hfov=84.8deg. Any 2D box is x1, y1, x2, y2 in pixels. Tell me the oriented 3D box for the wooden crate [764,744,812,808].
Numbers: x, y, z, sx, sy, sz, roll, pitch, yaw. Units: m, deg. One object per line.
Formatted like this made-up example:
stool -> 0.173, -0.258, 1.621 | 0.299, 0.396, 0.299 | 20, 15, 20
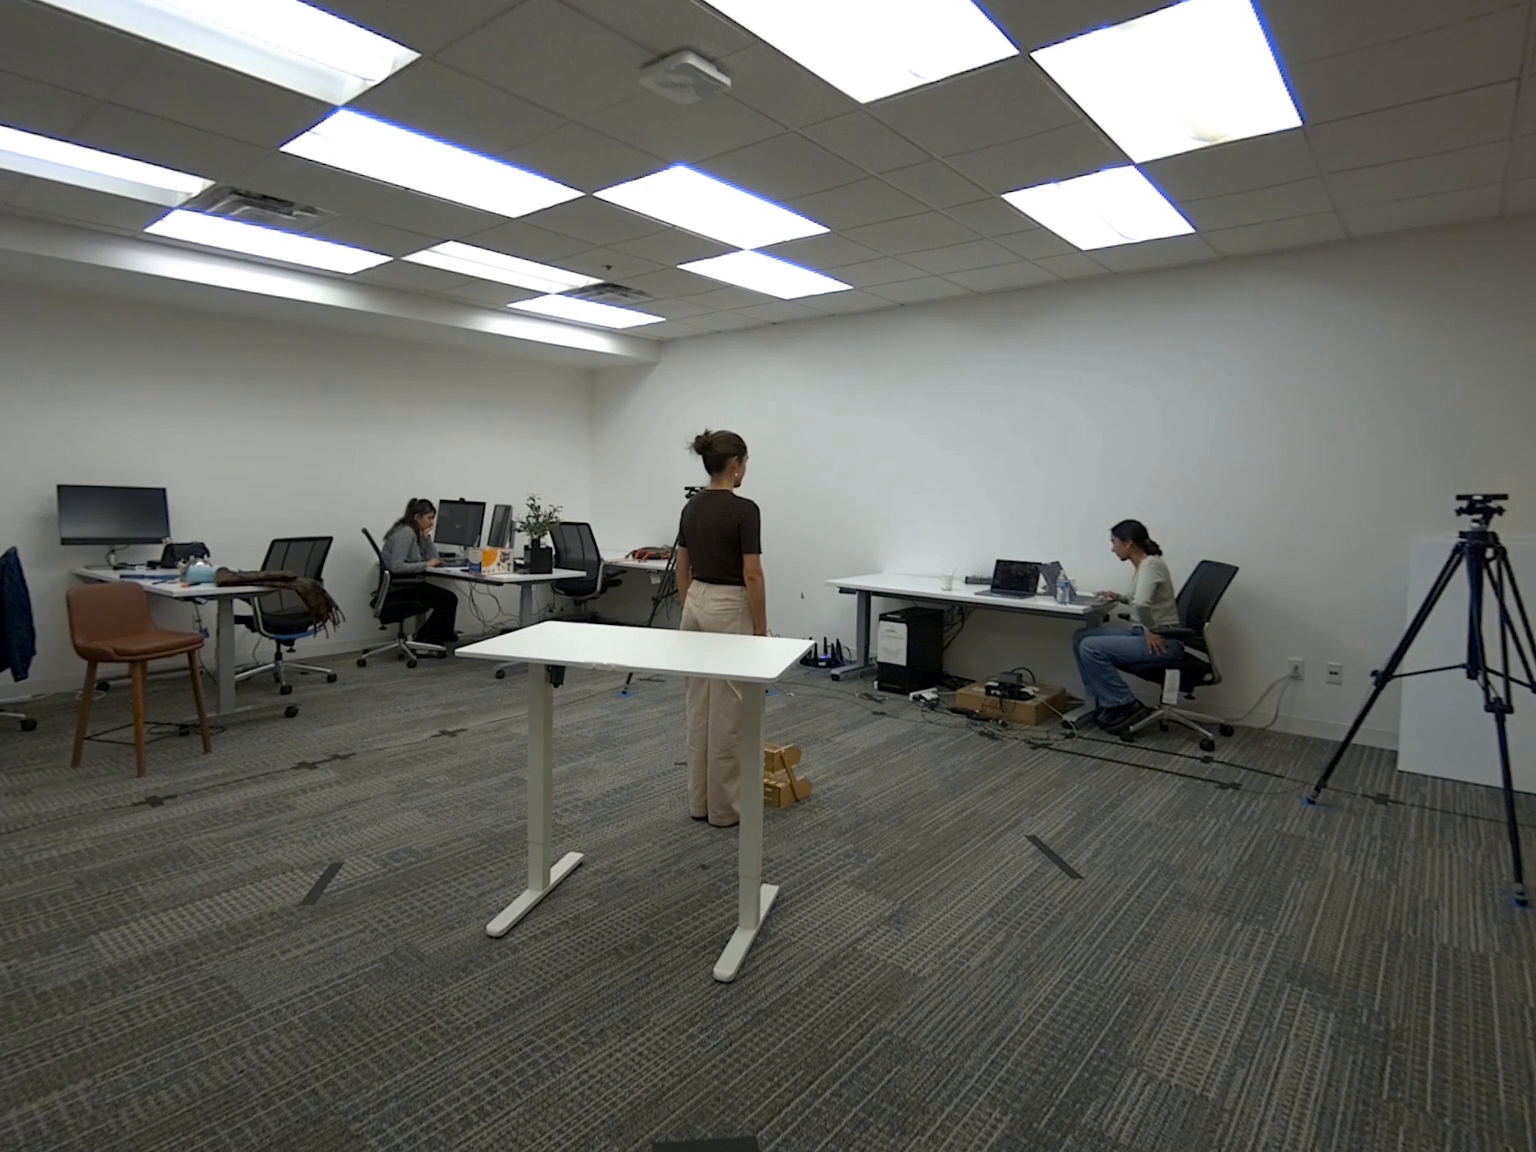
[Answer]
wooden crate -> -0.012, 0.863, 3.877 | 0.335, 0.272, 0.293 | 4, 7, 39
